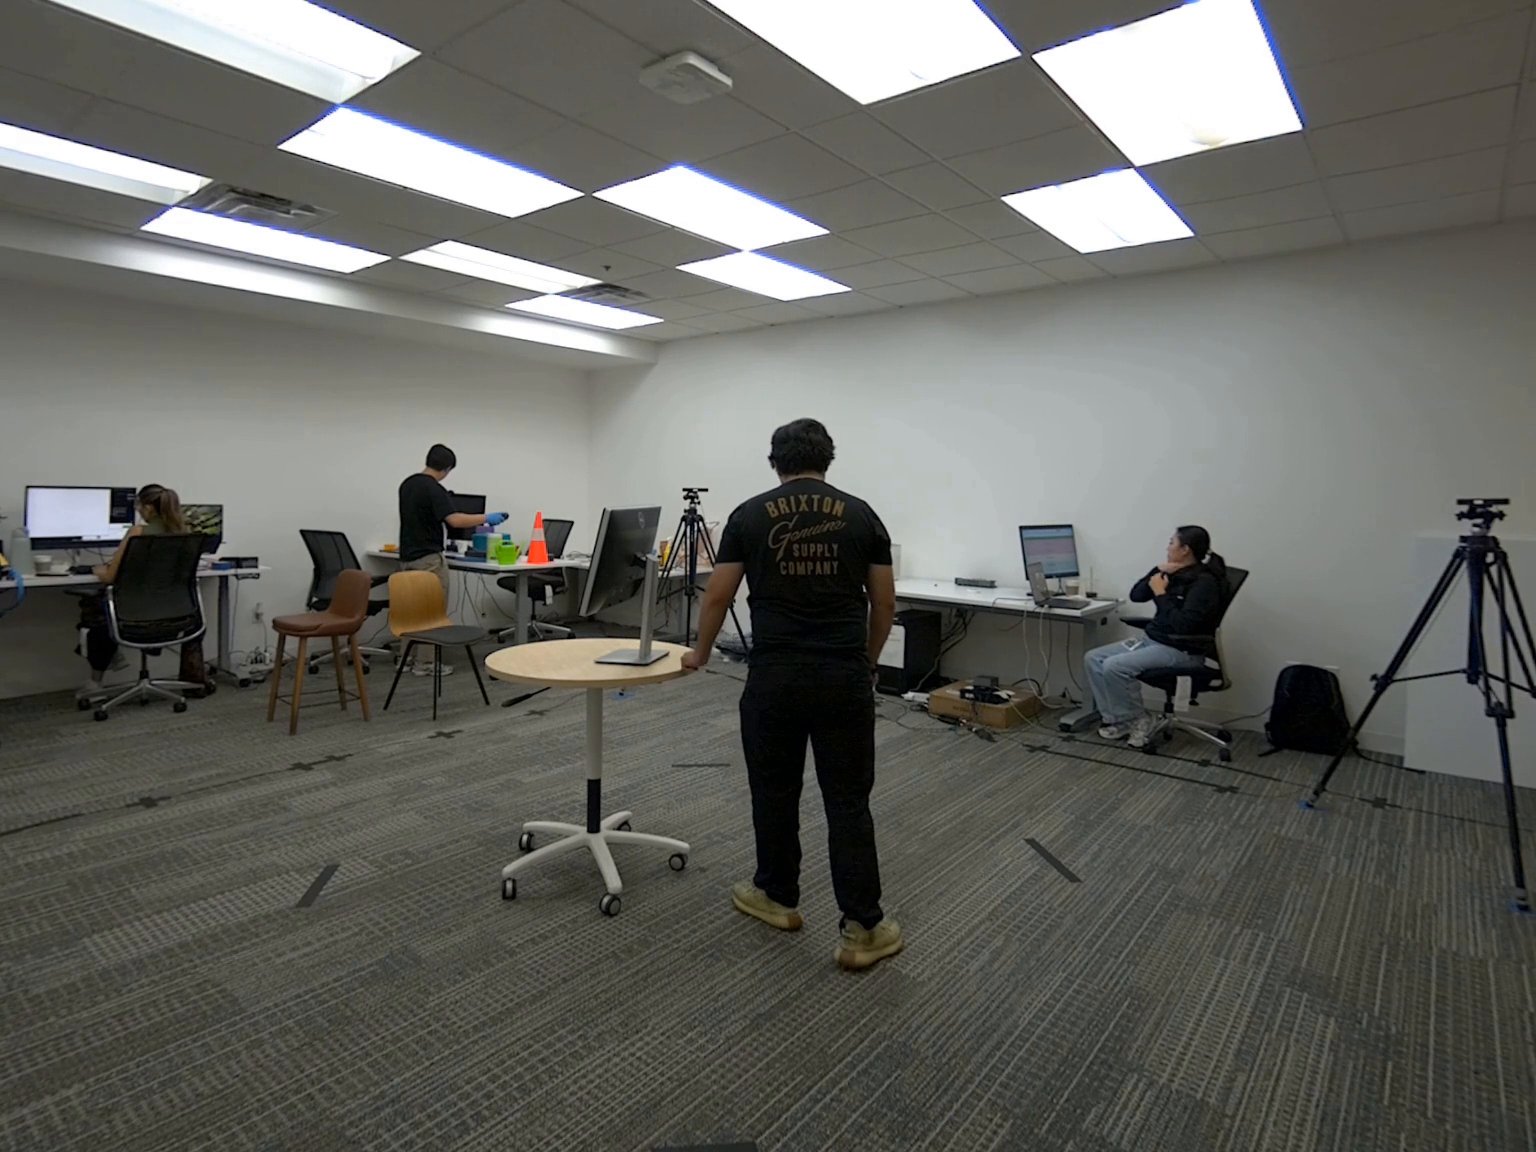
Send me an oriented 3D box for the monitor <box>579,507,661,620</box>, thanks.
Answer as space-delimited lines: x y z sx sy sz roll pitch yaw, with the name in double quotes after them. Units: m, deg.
-0.466 0.028 3.010 0.213 0.552 0.560 8 6 10 "monitor"
